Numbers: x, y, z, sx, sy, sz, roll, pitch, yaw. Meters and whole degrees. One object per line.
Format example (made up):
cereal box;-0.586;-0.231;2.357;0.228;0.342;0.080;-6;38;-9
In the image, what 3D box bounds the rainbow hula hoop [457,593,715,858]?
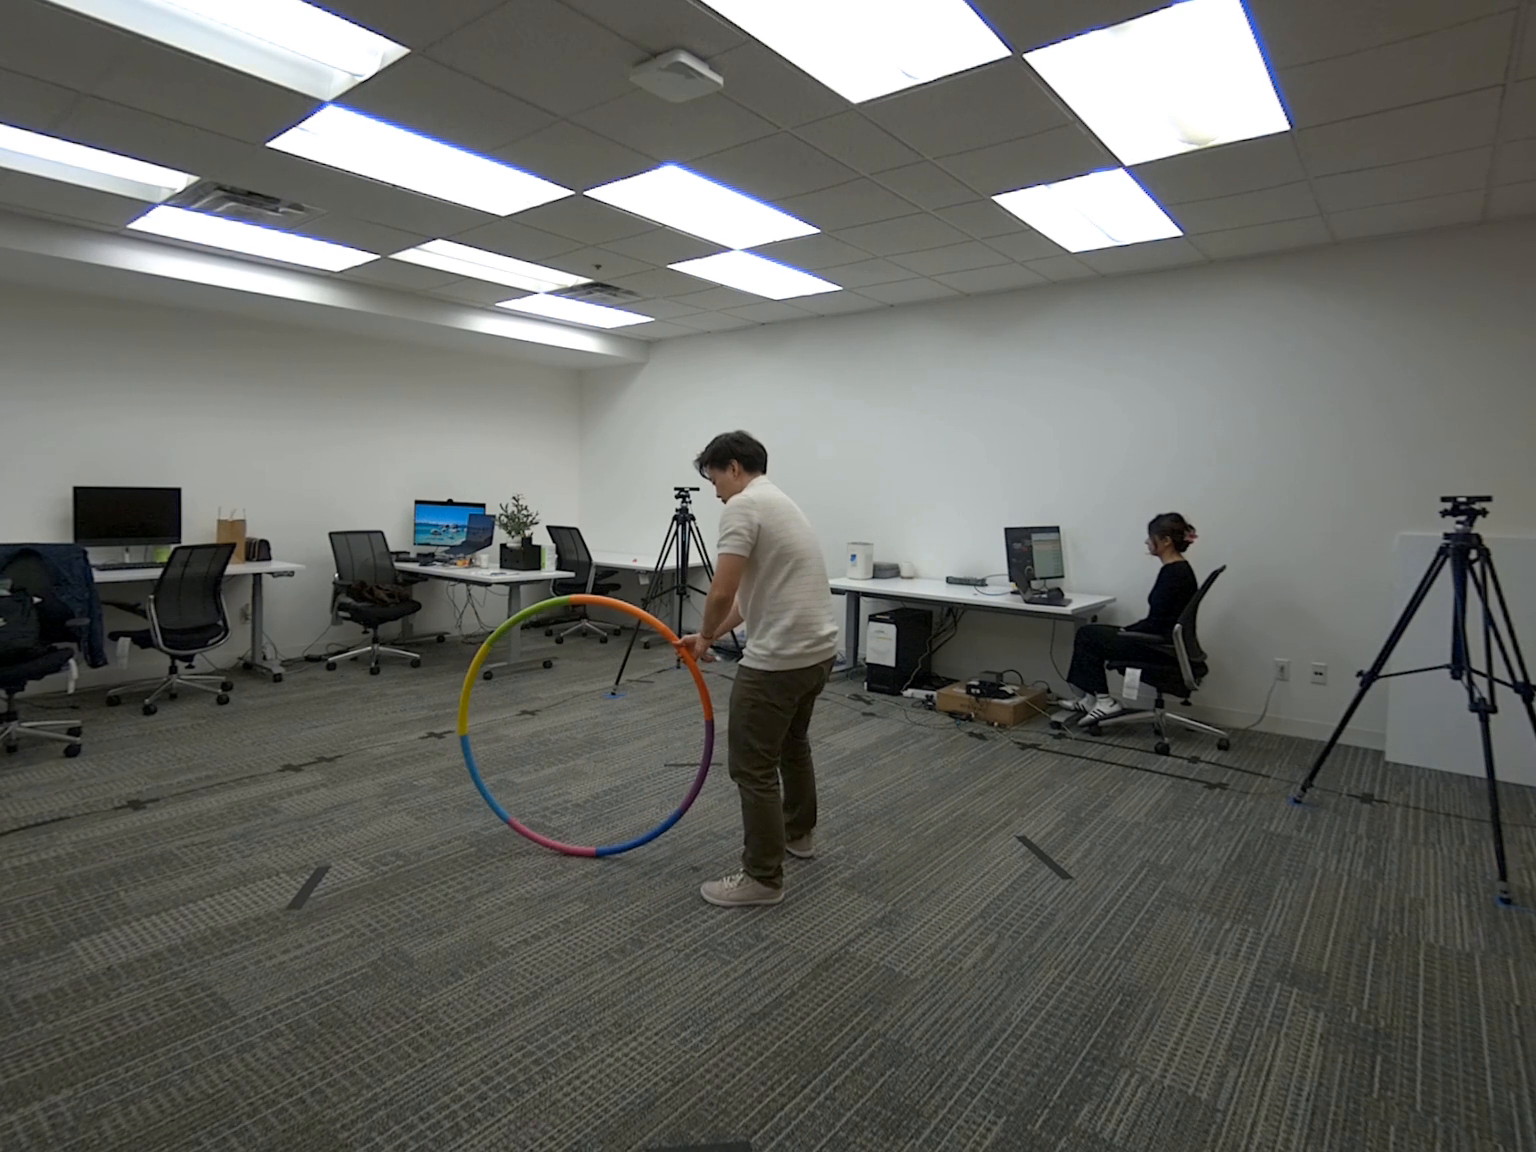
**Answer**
rainbow hula hoop;-0.682;0.564;3.171;0.987;0.975;0.035;1;4;8
